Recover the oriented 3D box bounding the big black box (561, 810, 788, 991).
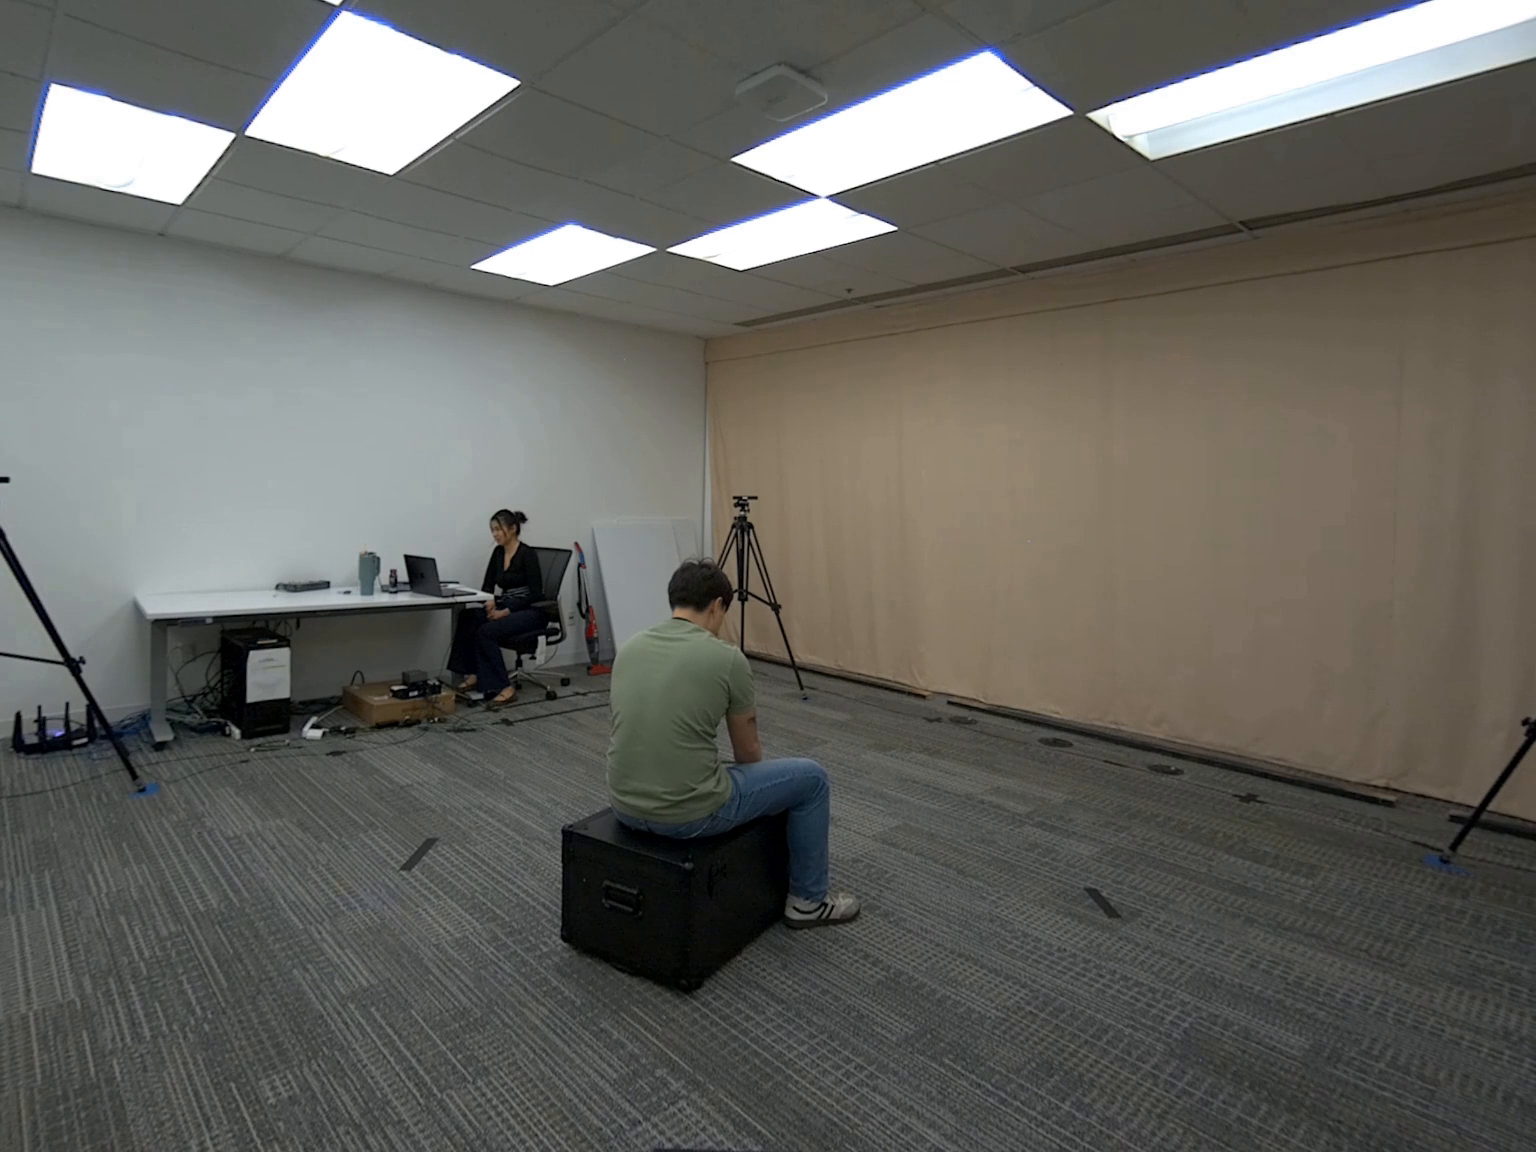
[{"bbox_3d":[-0.218,0.942,2.784,0.533,0.395,0.845,3,6,31],"label":"big black box"}]
